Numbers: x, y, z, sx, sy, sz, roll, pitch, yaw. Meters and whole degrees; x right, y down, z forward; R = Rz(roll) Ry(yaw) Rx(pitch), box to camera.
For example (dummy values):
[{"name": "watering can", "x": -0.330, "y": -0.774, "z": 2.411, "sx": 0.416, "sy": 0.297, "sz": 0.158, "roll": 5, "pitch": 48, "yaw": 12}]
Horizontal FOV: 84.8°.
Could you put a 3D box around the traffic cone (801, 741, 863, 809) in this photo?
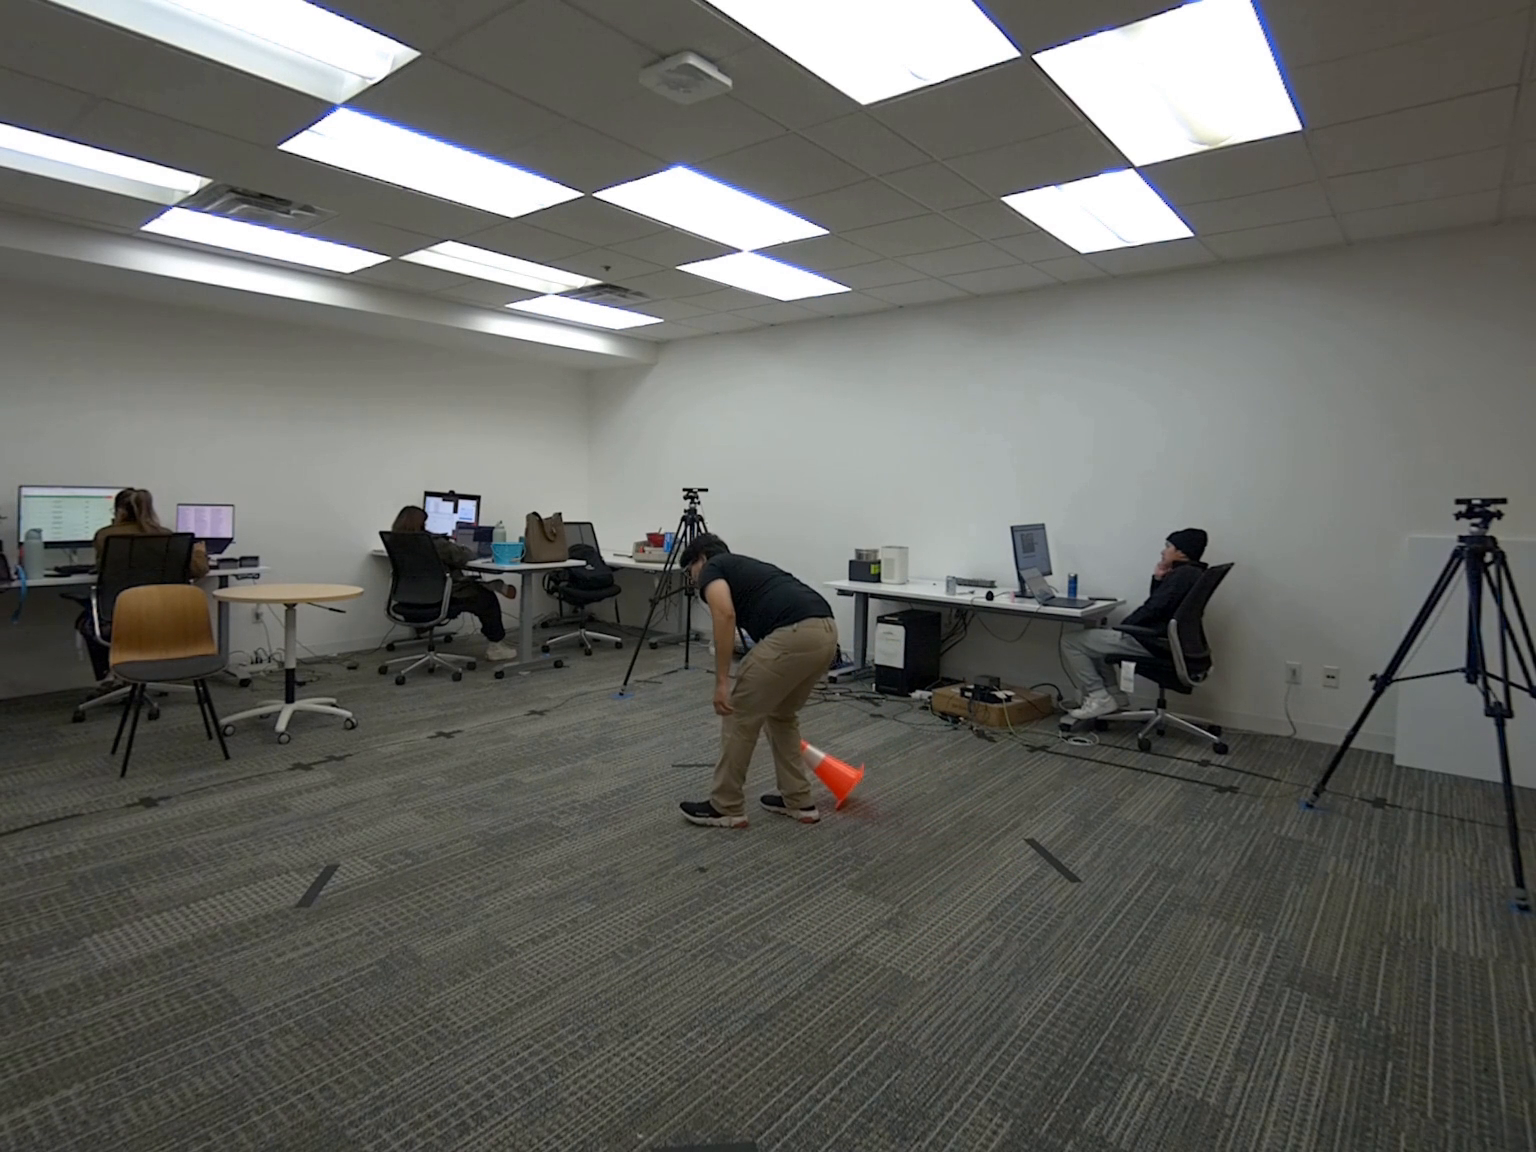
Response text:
[{"name": "traffic cone", "x": 0.207, "y": 0.825, "z": 3.829, "sx": 0.389, "sy": 0.204, "sz": 0.201, "roll": 36, "pitch": 12, "yaw": 9}]
